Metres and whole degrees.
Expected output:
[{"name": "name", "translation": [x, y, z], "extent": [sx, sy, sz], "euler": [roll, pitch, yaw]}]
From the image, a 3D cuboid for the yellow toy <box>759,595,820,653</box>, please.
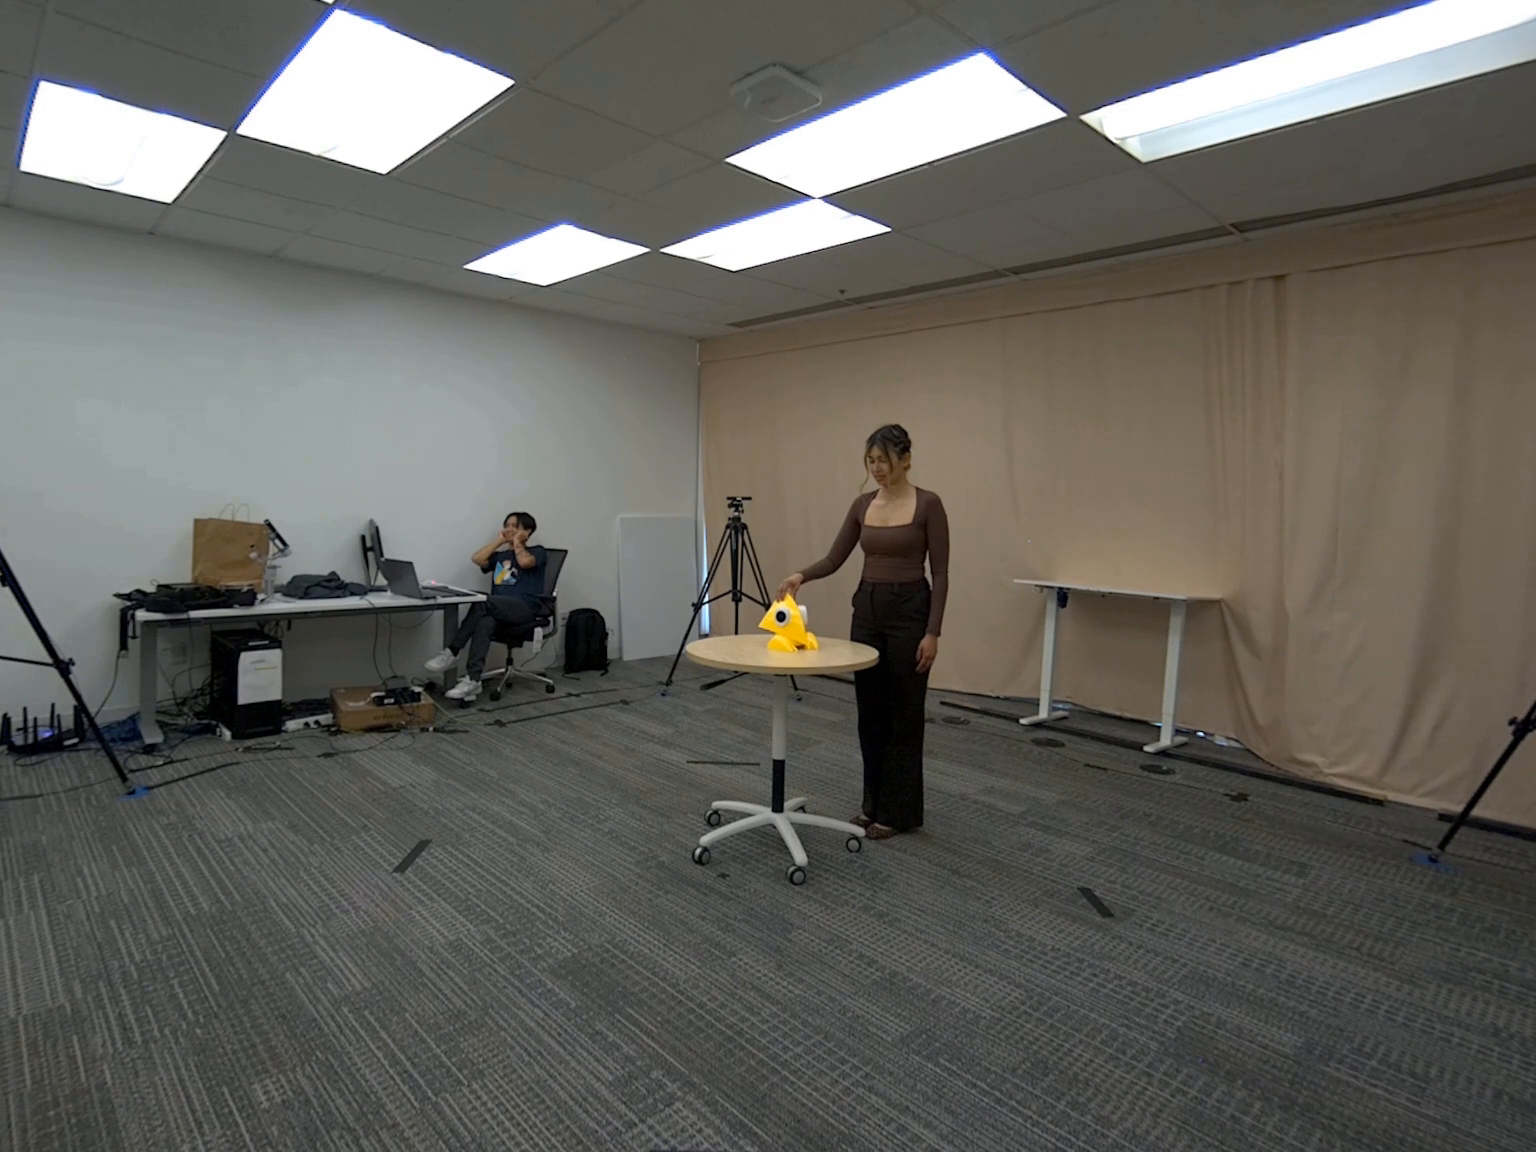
[{"name": "yellow toy", "translation": [0.090, 0.175, 3.401], "extent": [0.200, 0.230, 0.198], "euler": [0, 4, -33]}]
